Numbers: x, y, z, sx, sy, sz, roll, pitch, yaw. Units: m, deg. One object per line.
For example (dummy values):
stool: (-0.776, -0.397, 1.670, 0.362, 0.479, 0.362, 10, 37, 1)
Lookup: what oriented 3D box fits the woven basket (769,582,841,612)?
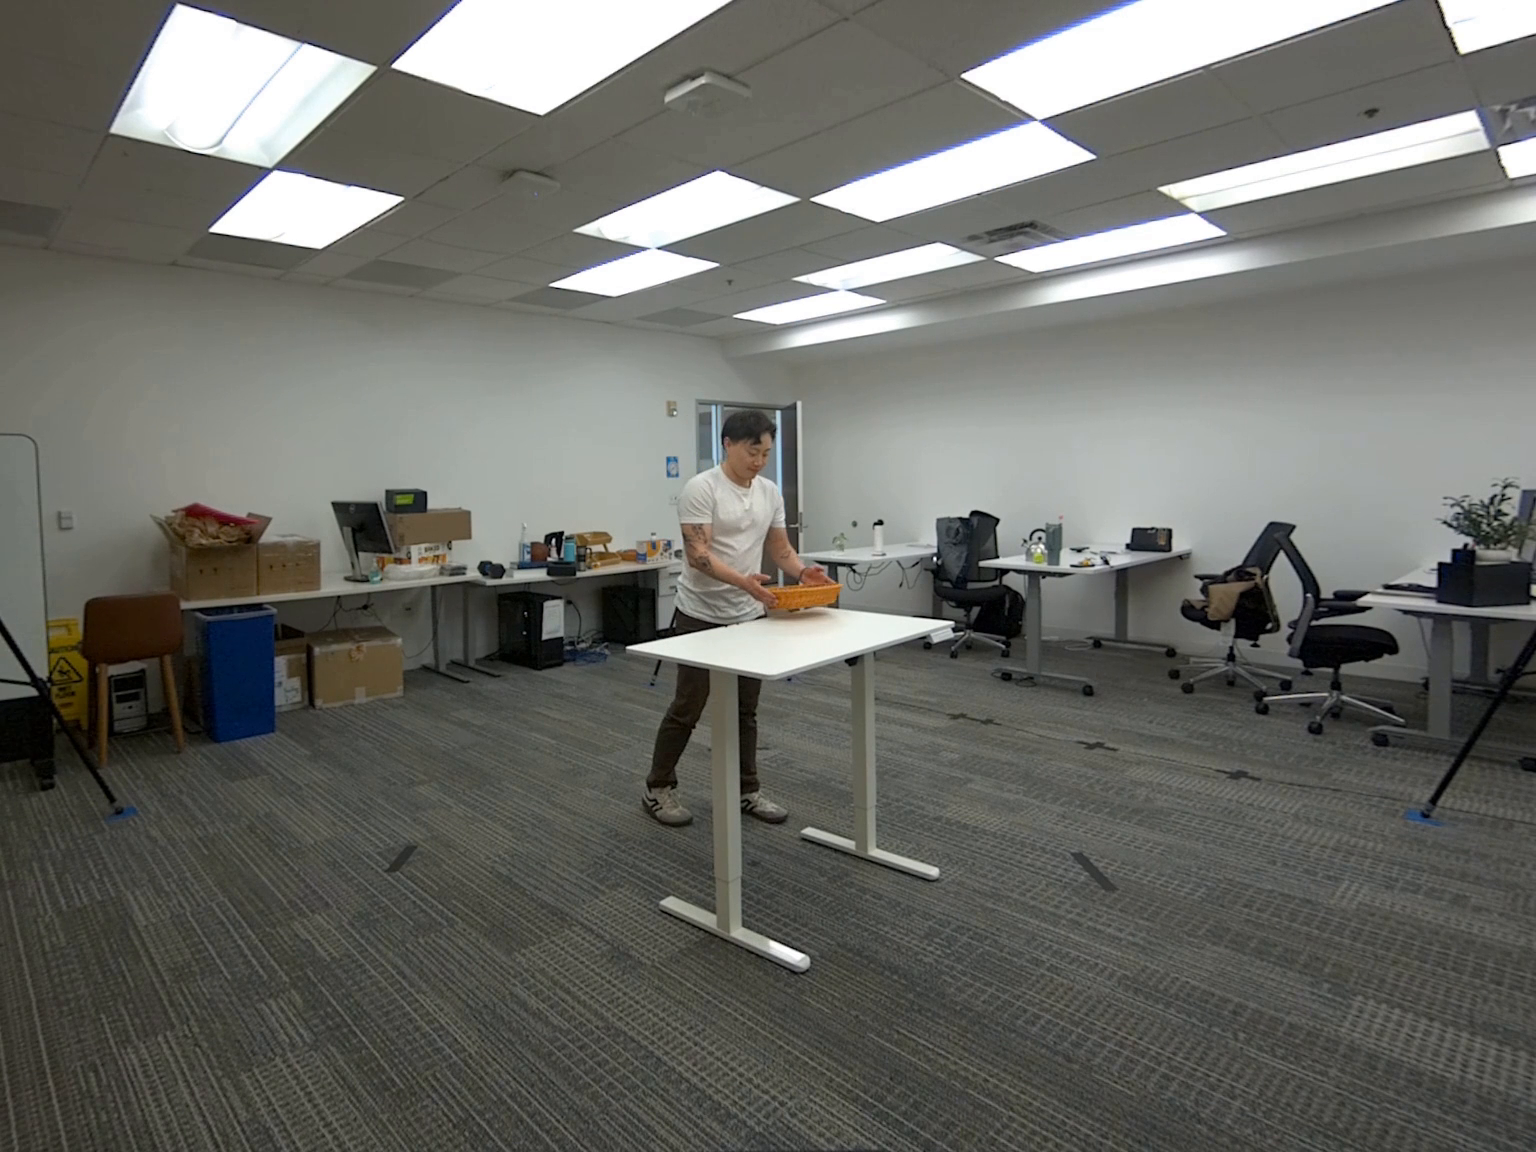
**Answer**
woven basket: (0.124, 0.078, 3.215, 0.341, 0.073, 0.259, -6, 4, -40)
